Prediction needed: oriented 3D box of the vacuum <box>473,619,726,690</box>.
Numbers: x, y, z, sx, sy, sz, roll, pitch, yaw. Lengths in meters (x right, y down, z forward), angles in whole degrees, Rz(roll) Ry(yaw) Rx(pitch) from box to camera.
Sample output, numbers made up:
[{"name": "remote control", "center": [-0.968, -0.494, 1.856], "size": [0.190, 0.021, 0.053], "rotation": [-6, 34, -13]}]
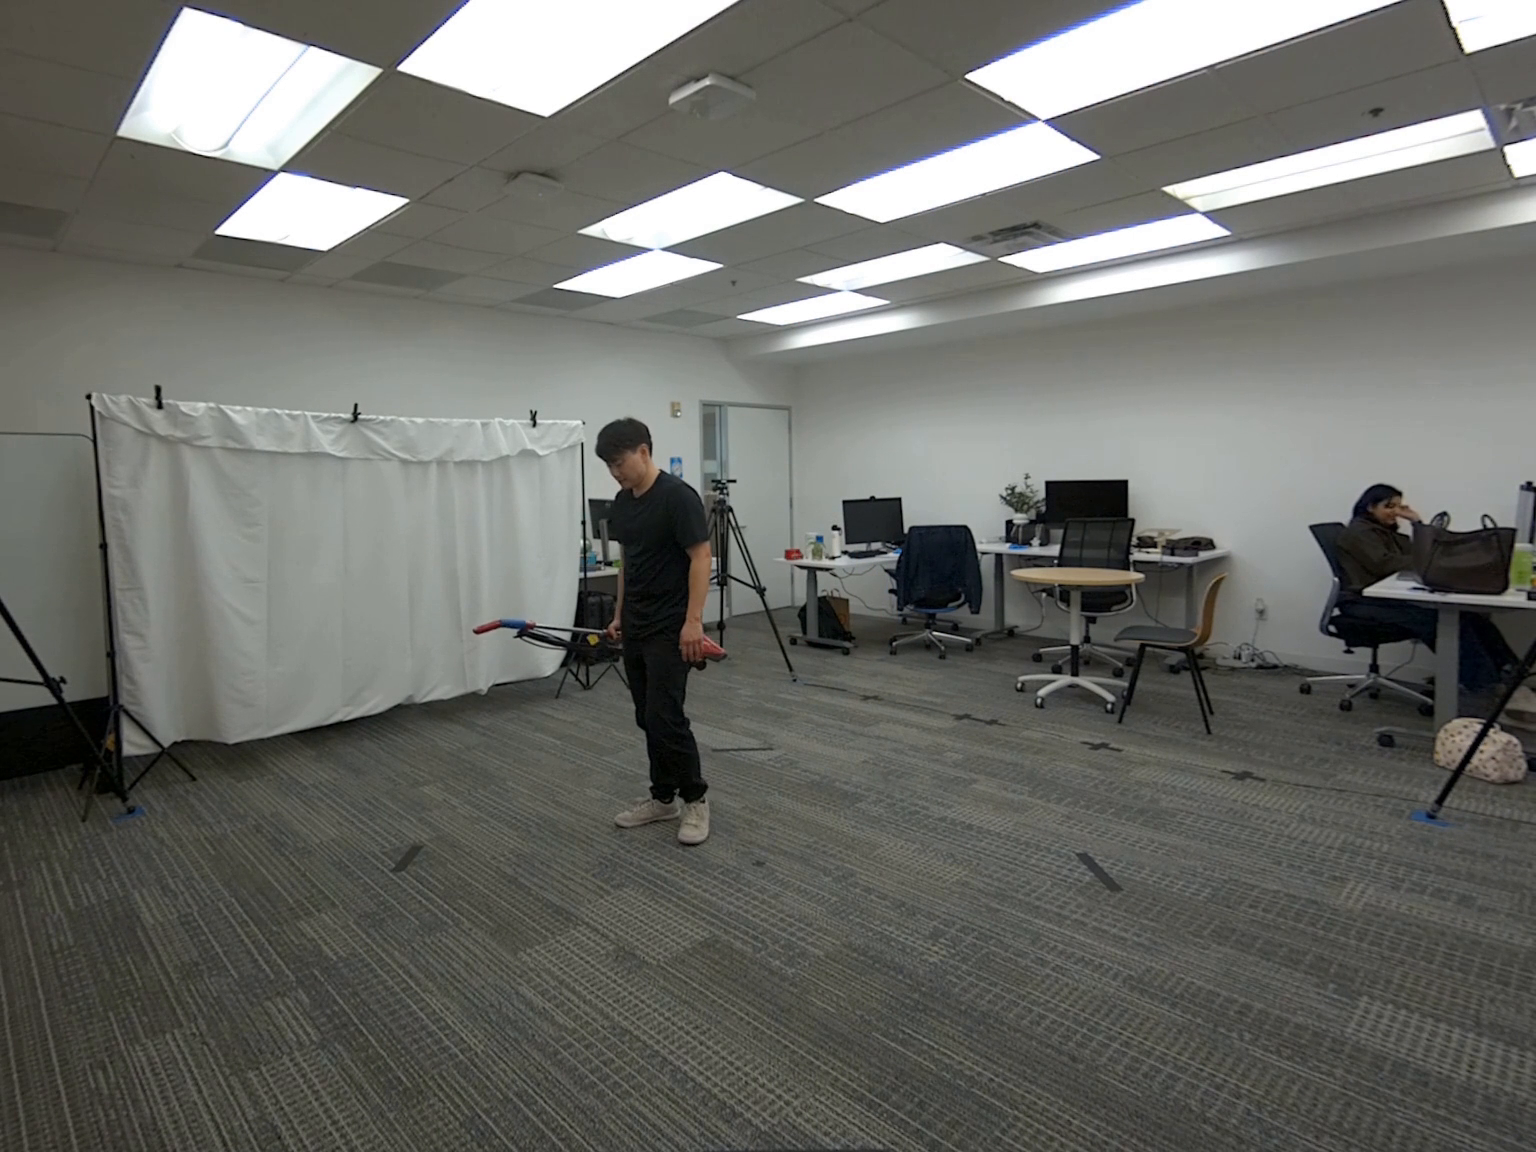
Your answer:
[{"name": "vacuum", "center": [-0.714, 0.284, 3.618], "size": [1.019, 0.143, 0.262], "rotation": [9, 16, -32]}]
